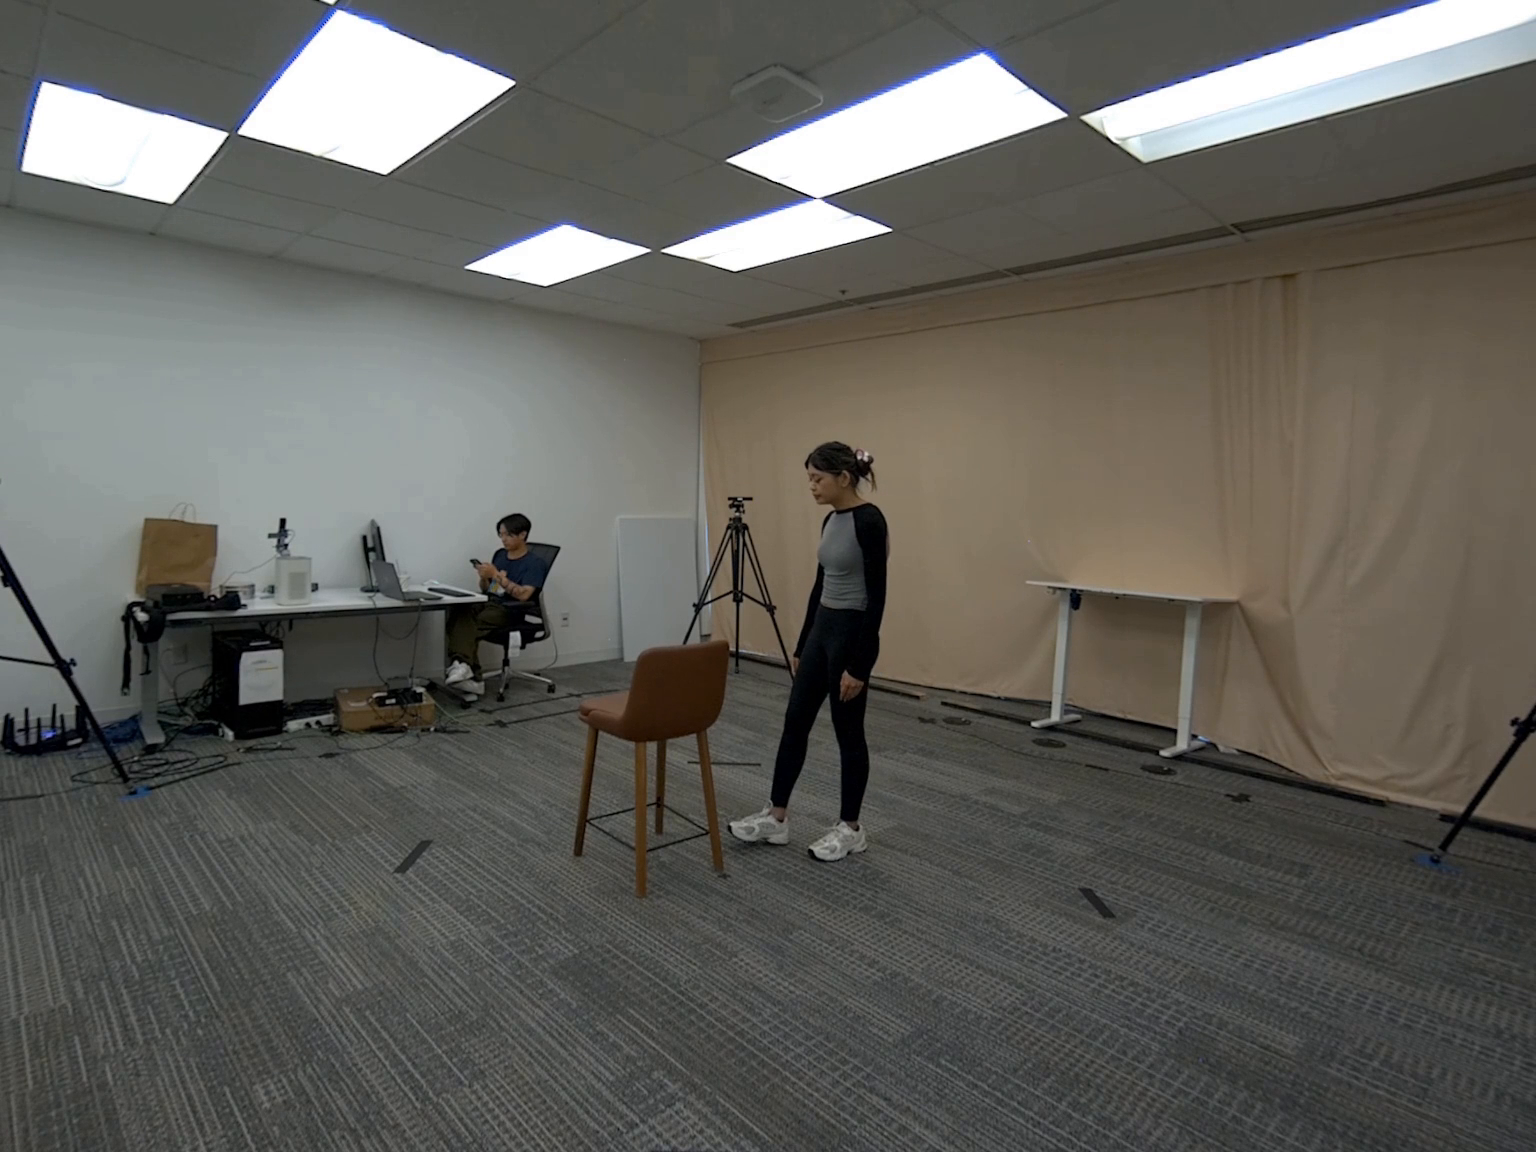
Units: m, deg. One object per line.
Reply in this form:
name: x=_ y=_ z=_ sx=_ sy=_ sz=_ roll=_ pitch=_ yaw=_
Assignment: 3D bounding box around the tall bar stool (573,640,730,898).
tall bar stool: x=-0.445 y=0.658 z=3.174 sx=0.446 sy=0.887 sz=0.480 roll=-1 pitch=6 yaw=-42
